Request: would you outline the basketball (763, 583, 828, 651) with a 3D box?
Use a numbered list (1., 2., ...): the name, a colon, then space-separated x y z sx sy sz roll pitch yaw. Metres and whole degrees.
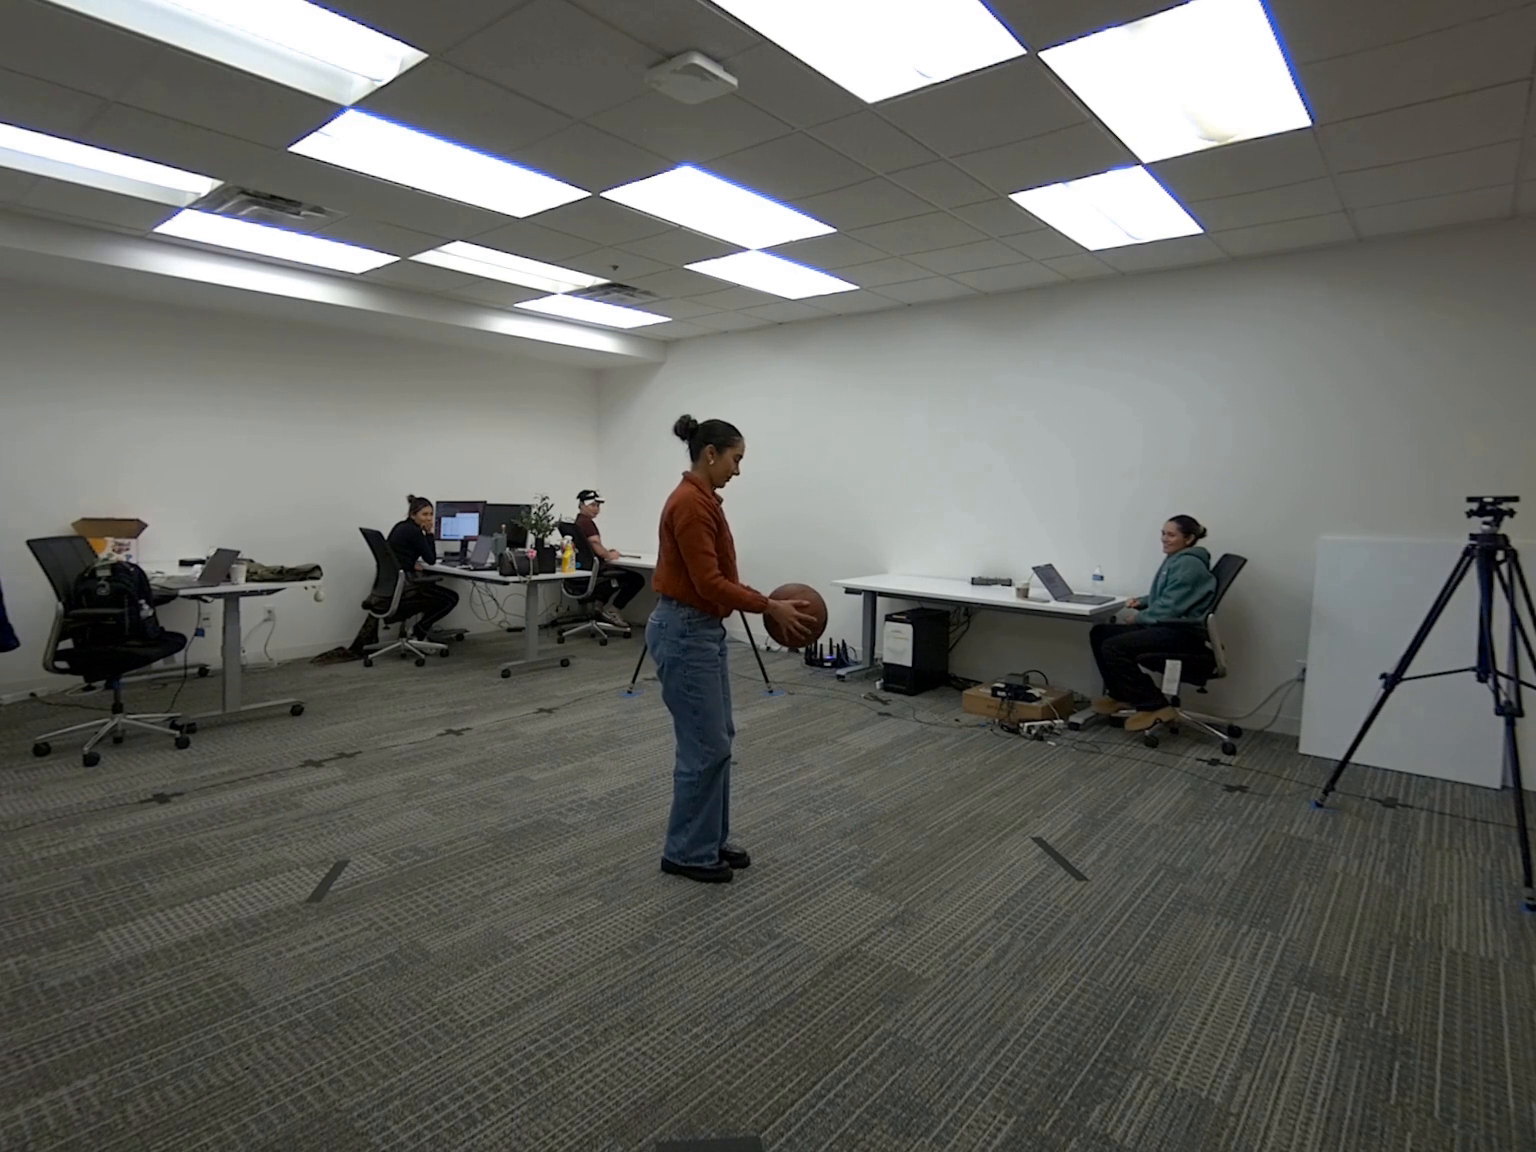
1. basketball: 0.086 0.127 3.077 0.236 0.235 0.237 1 4 -2
